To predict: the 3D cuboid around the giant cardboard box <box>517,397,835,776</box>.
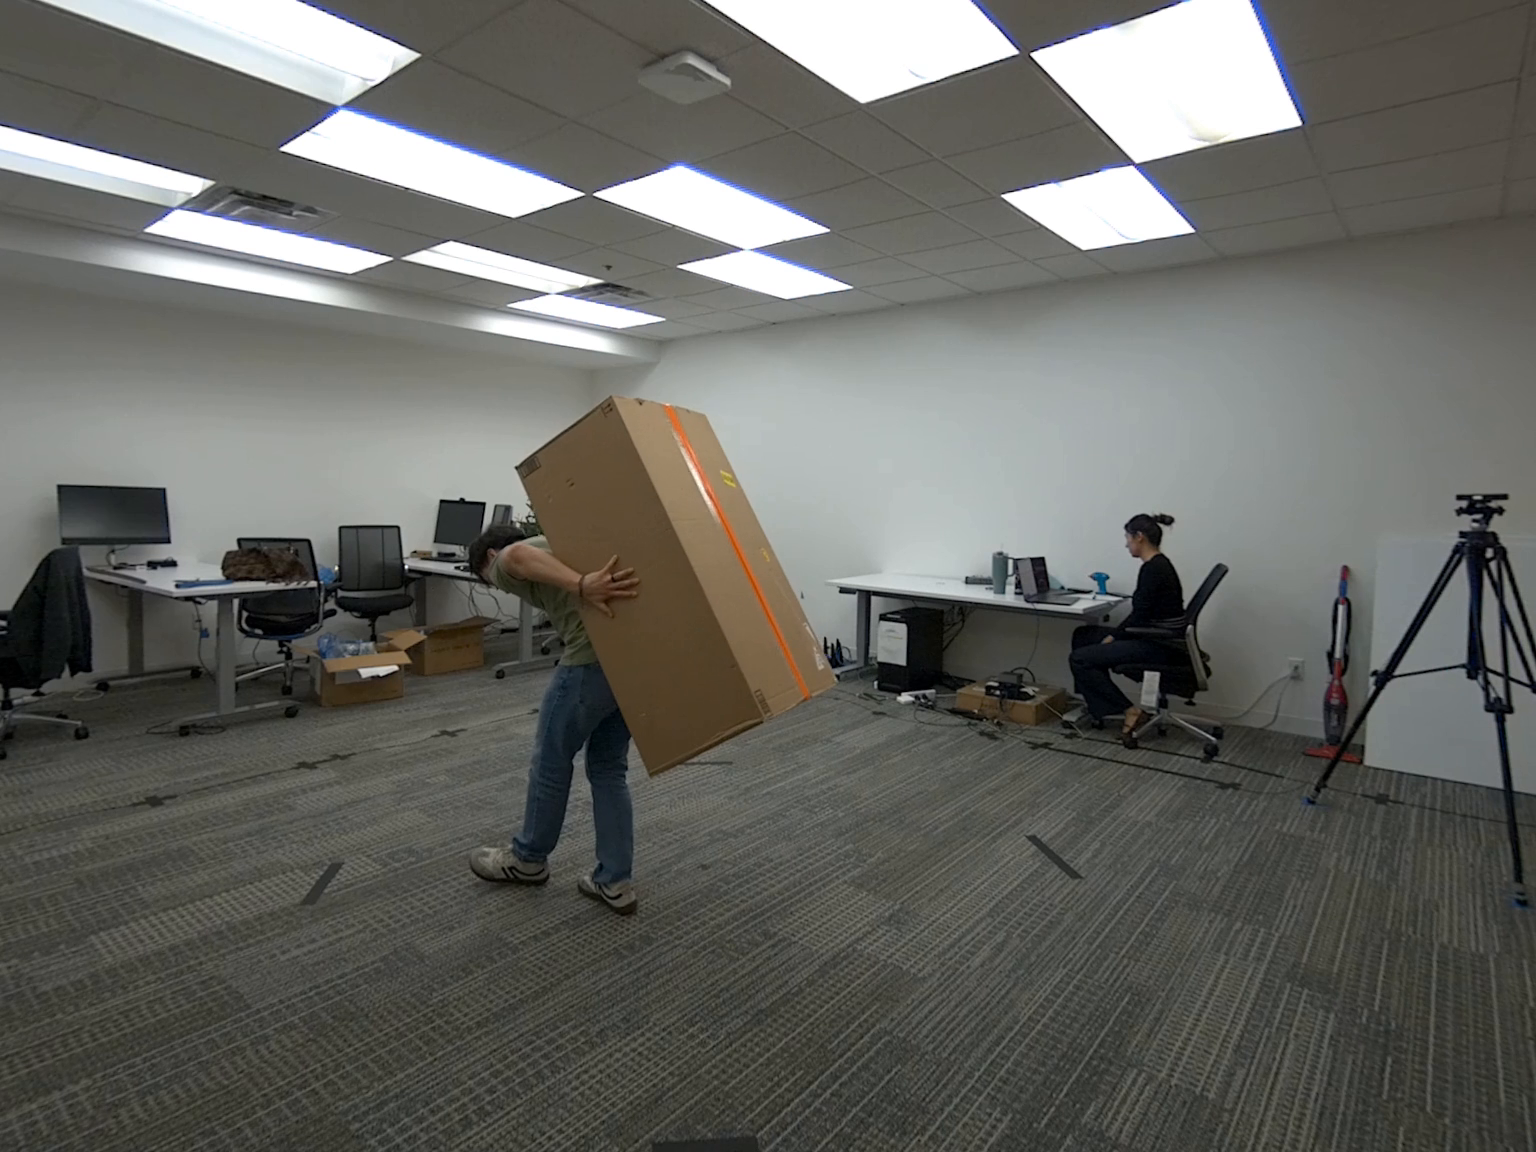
[{"bbox_3d":[-0.285,0.002,2.686,0.430,1.042,0.563,-32,-12,25],"label":"giant cardboard box"}]
